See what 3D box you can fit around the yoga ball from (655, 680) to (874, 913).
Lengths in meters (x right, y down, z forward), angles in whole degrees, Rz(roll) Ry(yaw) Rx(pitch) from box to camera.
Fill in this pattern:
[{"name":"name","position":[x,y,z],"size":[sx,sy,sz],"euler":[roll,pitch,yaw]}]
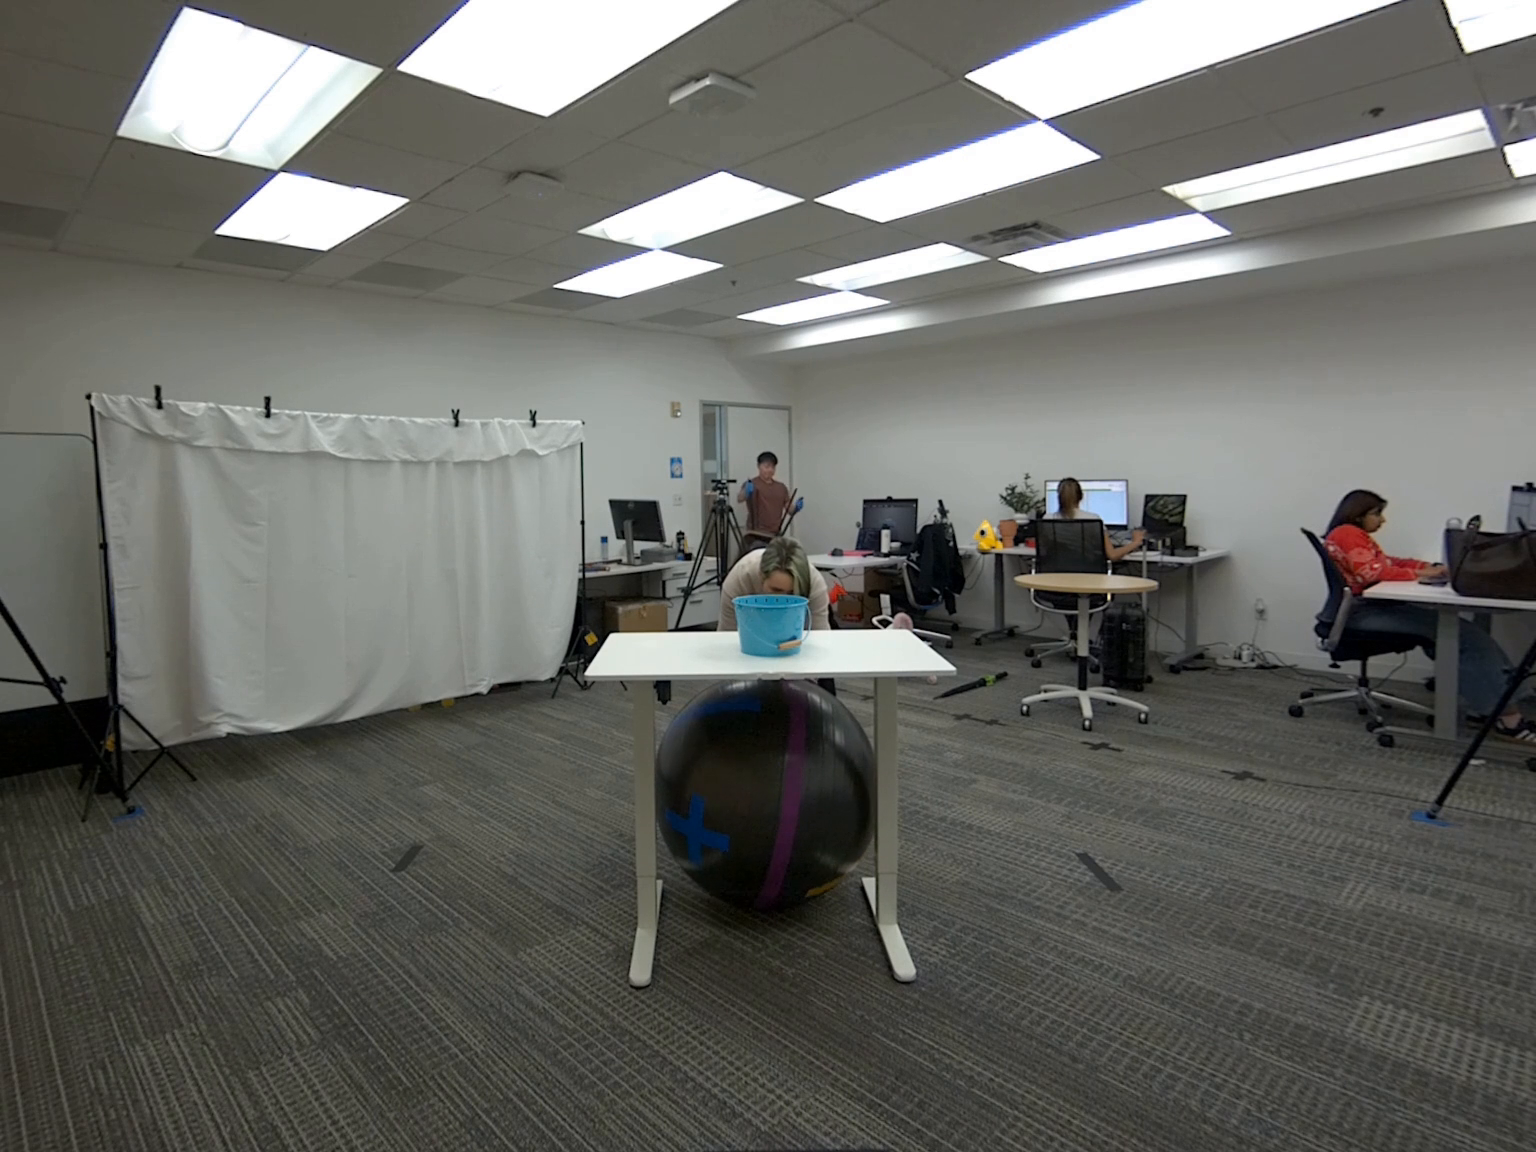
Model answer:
[{"name":"yoga ball","position":[-0.010,0.706,2.863],"size":[0.757,0.755,0.762],"euler":[-1,5,-2]}]
